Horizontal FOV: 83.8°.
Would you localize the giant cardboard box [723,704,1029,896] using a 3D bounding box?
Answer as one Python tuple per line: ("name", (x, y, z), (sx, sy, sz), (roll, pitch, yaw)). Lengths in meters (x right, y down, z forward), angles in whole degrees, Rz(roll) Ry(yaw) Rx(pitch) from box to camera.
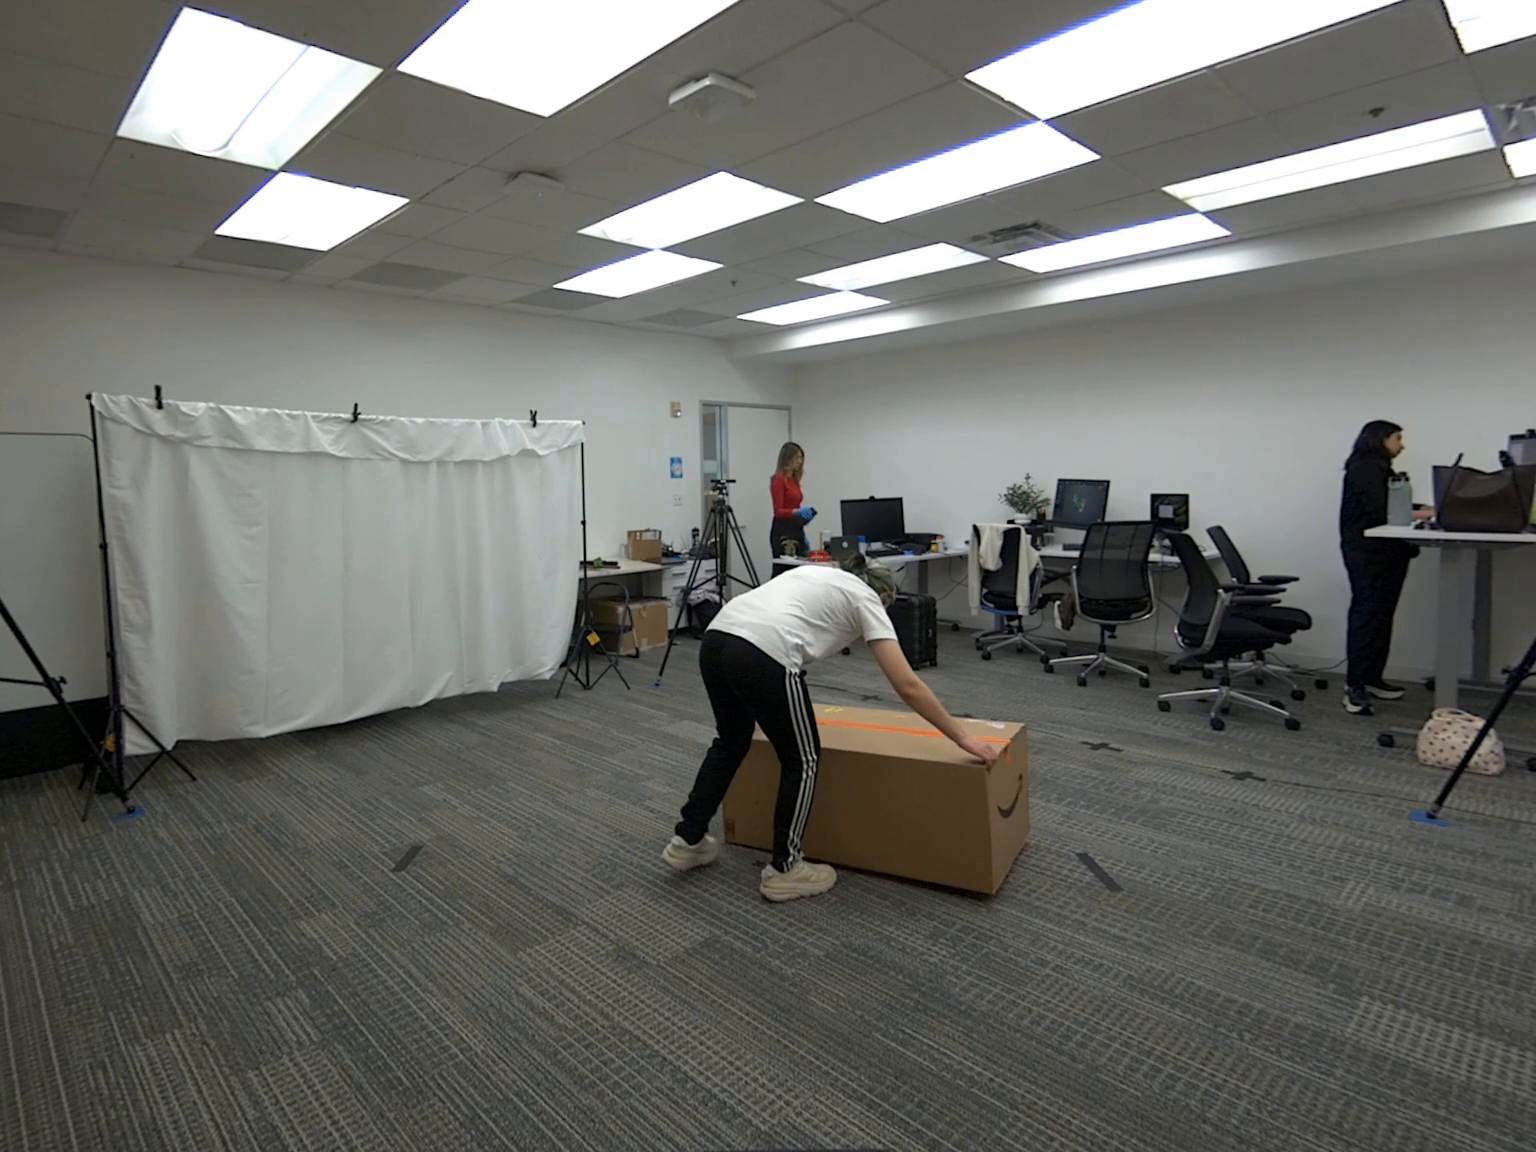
("giant cardboard box", (0.406, 0.786, 3.264), (1.052, 0.425, 0.565), (0, 4, 30))
